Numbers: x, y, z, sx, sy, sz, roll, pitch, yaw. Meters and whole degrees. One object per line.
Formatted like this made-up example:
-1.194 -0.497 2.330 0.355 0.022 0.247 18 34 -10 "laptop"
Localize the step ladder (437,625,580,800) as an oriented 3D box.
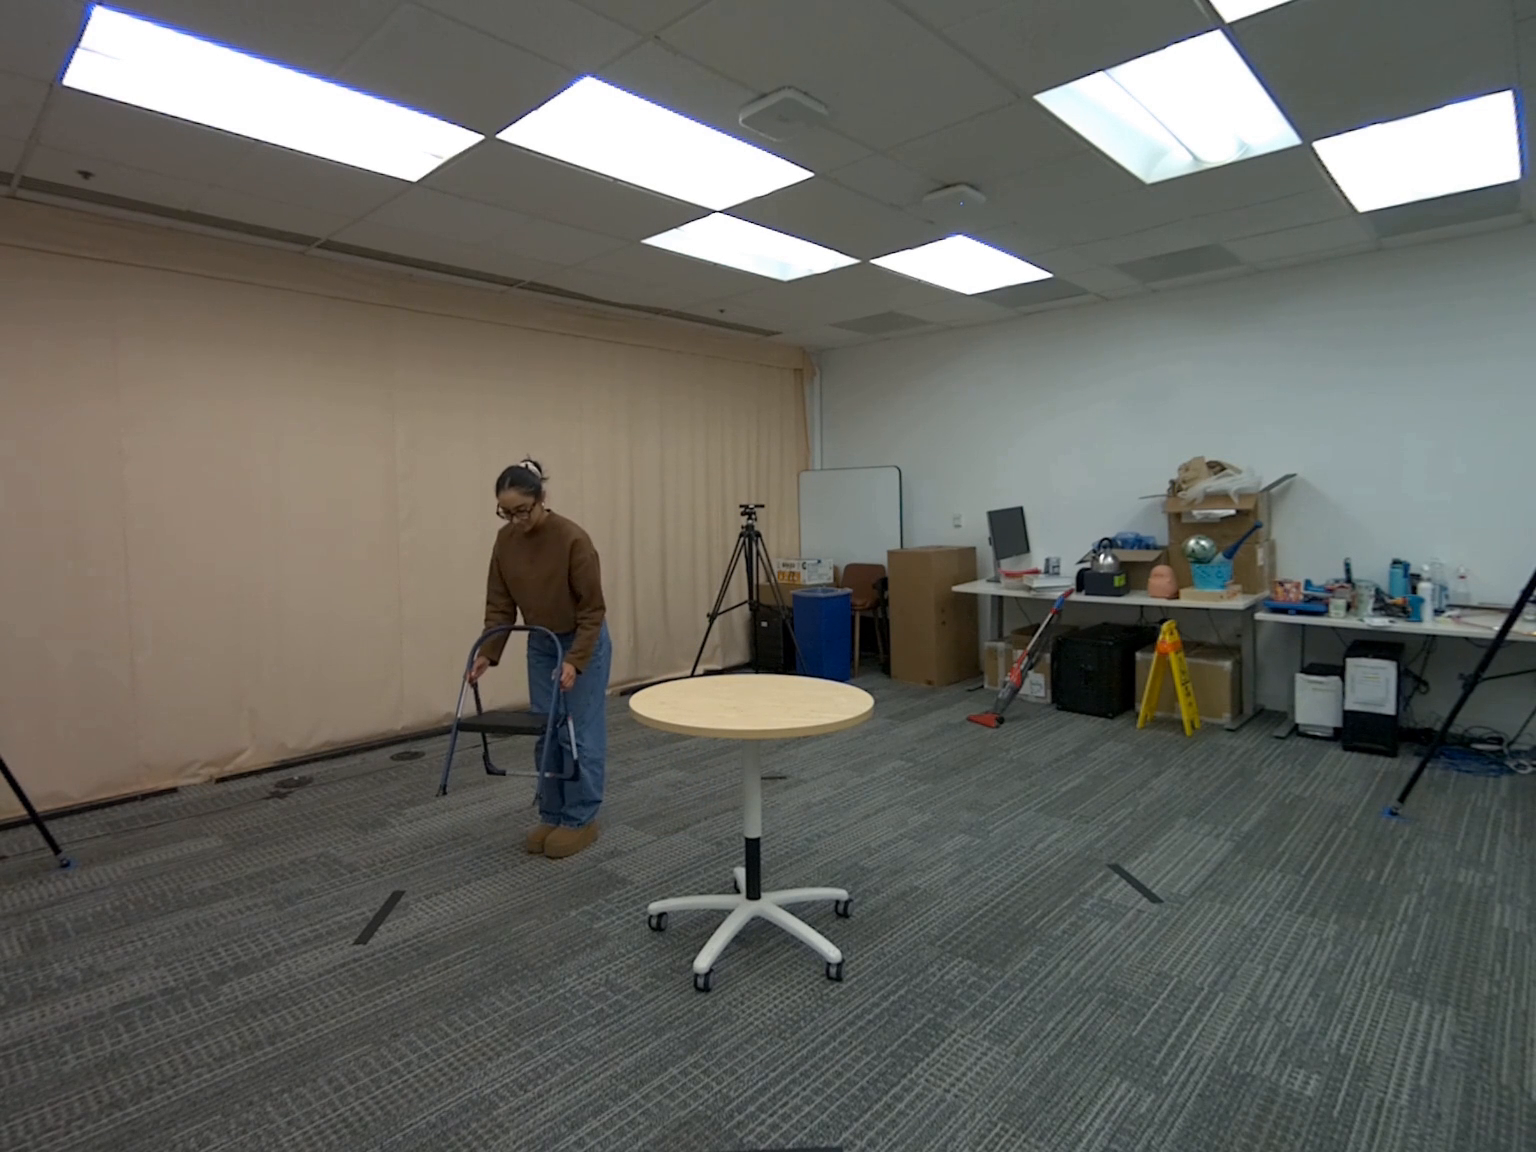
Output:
-0.965 0.506 3.179 0.438 0.606 0.343 0 0 16 "step ladder"
